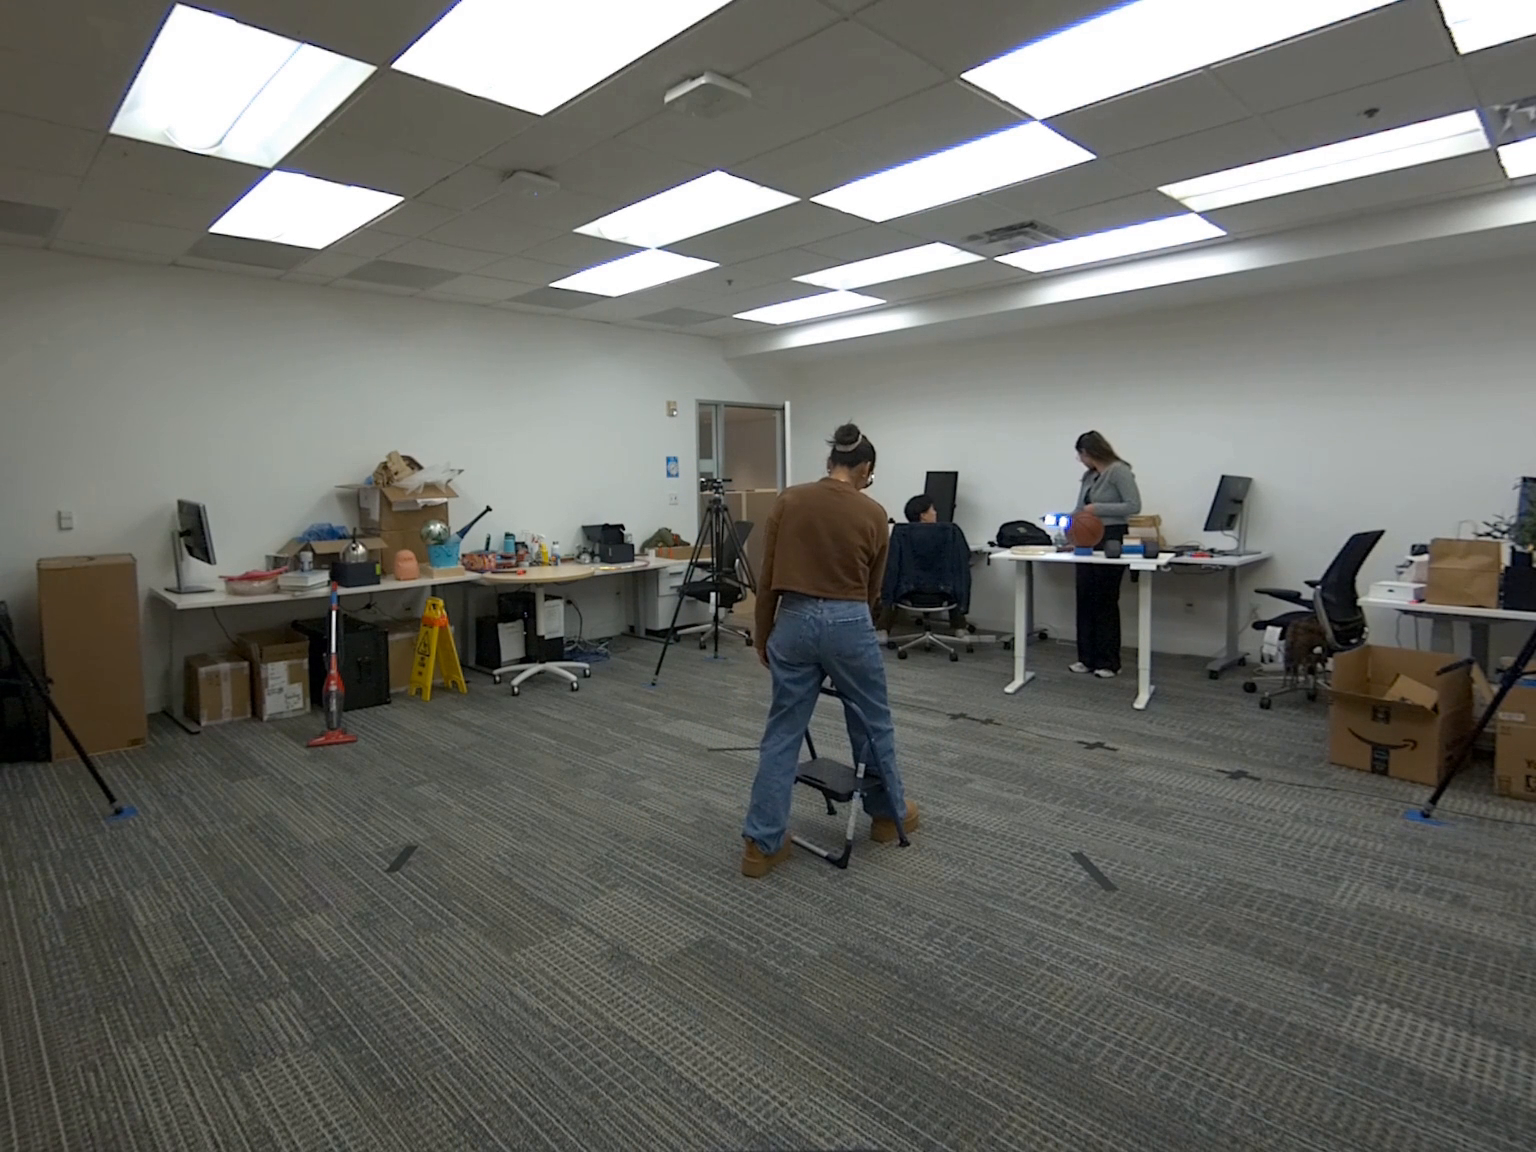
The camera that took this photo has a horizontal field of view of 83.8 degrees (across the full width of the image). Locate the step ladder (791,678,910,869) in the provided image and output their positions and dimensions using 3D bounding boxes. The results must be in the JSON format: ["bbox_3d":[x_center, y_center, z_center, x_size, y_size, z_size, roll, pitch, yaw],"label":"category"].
[{"bbox_3d":[0.264,0.712,3.288,0.340,0.603,0.443,-5,6,-38],"label":"step ladder"}]
